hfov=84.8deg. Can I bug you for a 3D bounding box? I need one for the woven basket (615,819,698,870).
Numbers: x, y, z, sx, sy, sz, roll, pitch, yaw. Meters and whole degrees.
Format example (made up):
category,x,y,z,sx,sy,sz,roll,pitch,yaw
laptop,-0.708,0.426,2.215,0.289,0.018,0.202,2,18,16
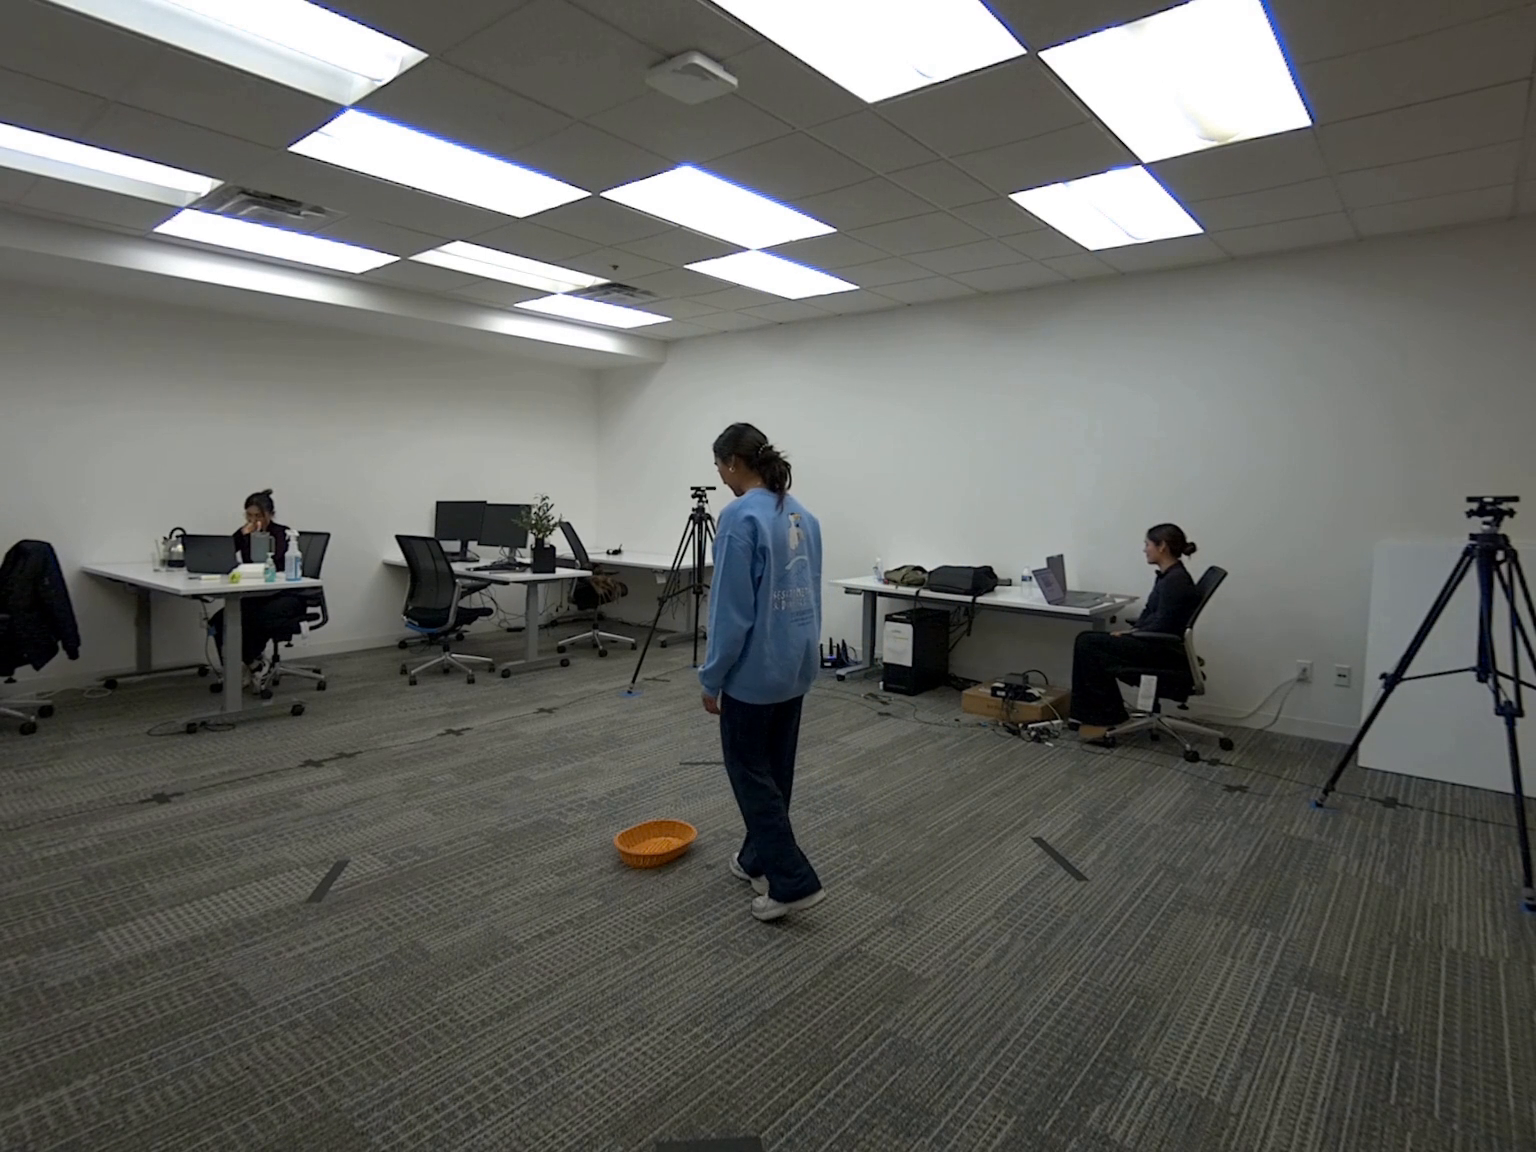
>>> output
category,x,y,z,sx,sy,sz,roll,pitch,yaw
woven basket,-0.432,1.012,3.217,0.261,0.073,0.340,6,7,38
